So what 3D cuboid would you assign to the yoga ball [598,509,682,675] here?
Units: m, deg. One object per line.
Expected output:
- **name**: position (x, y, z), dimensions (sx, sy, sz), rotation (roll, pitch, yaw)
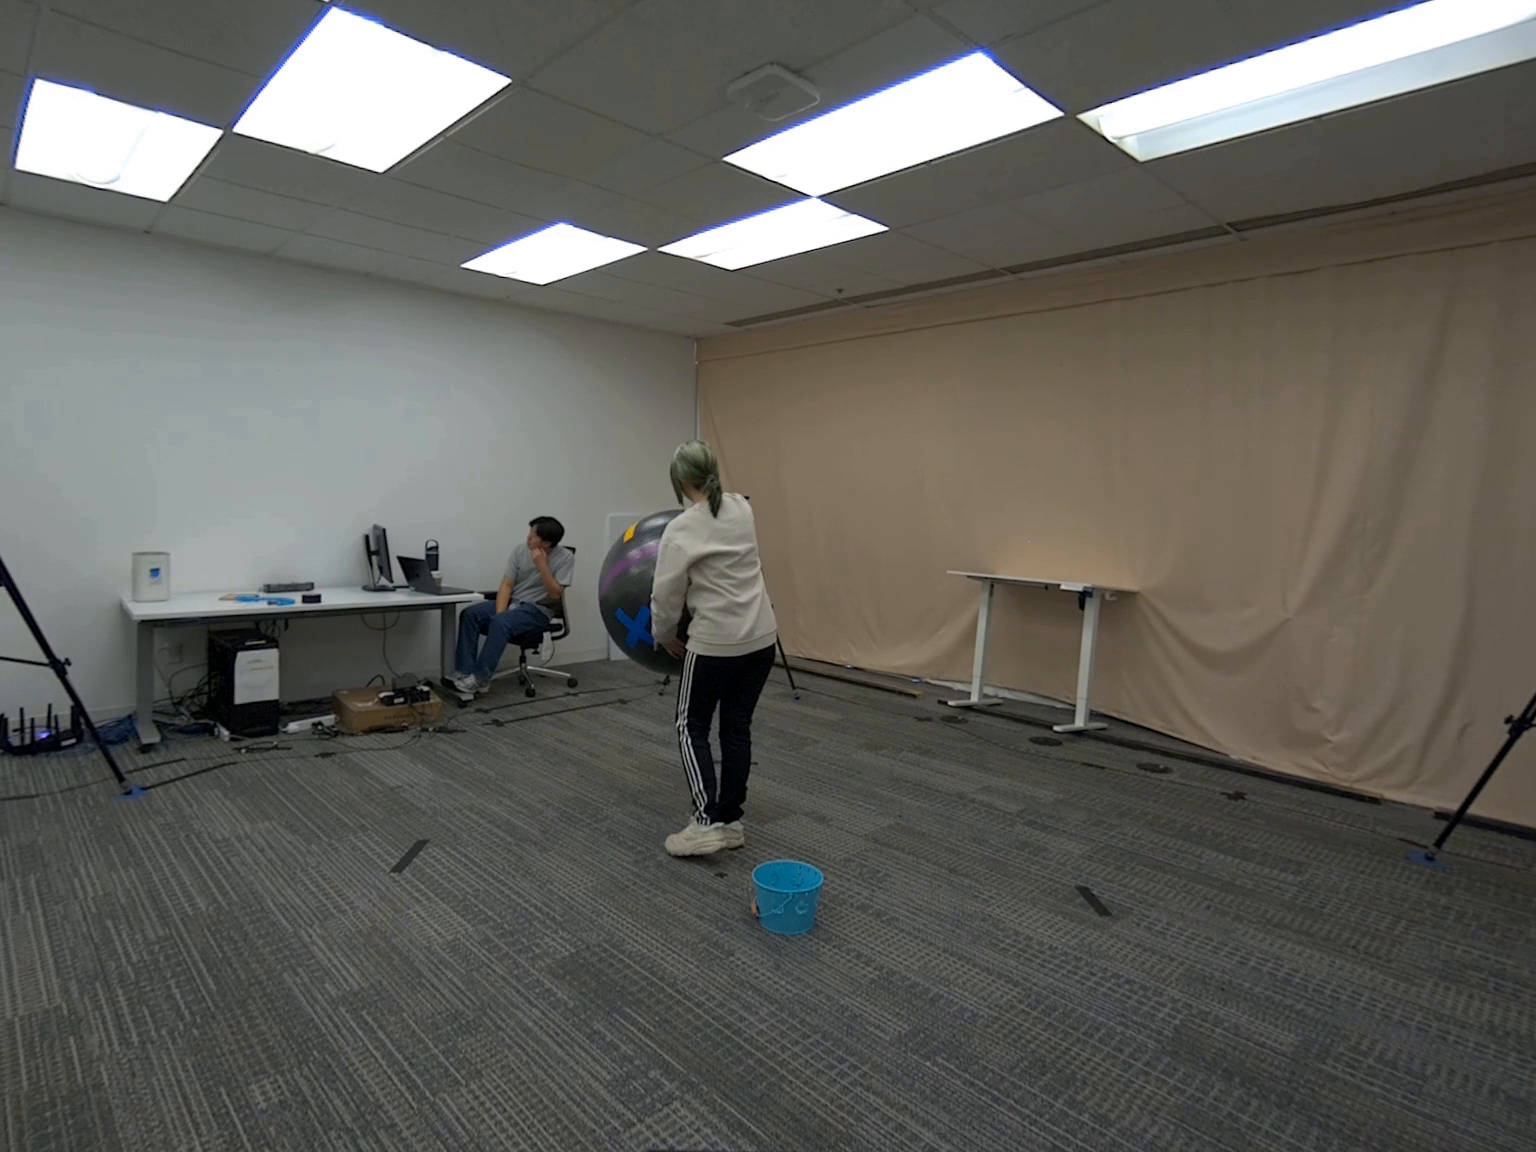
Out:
- **yoga ball**: position (-0.398, 0.077, 3.844), dimensions (0.757, 0.756, 0.761), rotation (1, 4, -1)
